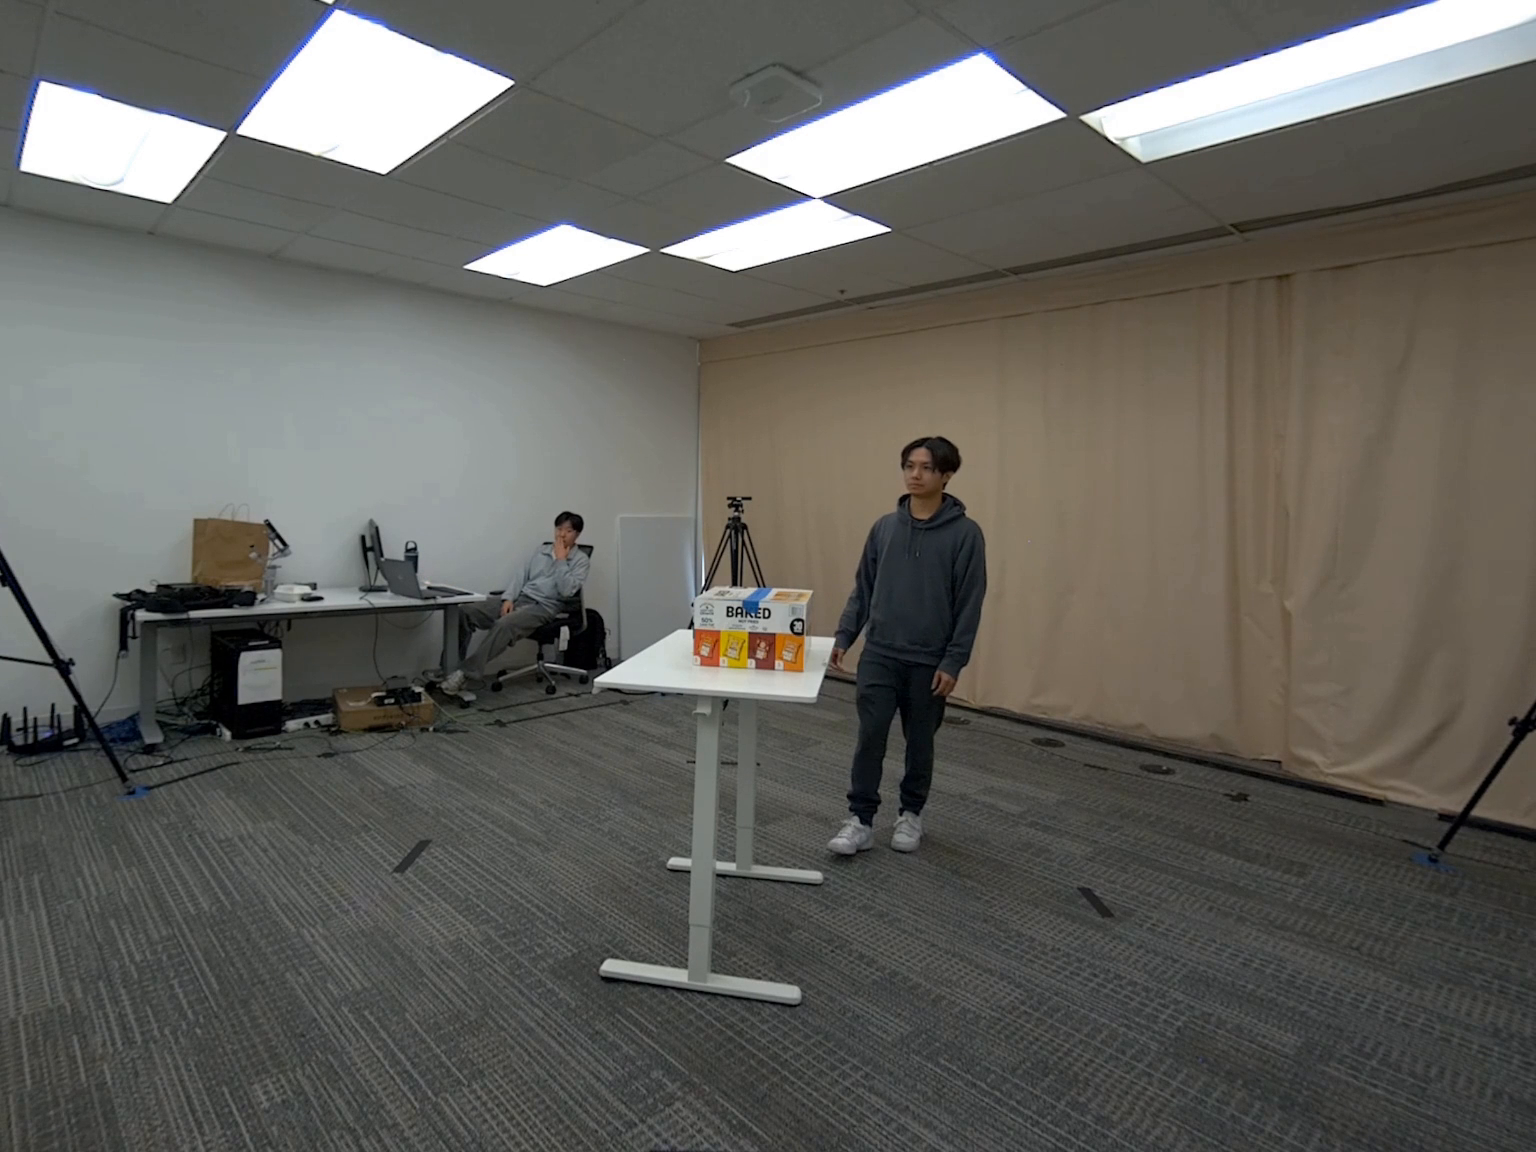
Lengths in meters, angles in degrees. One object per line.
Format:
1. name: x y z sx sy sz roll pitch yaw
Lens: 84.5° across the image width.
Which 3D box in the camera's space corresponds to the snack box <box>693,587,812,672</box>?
1. snack box: -0.042 0.162 2.701 0.343 0.205 0.403 3 4 8
